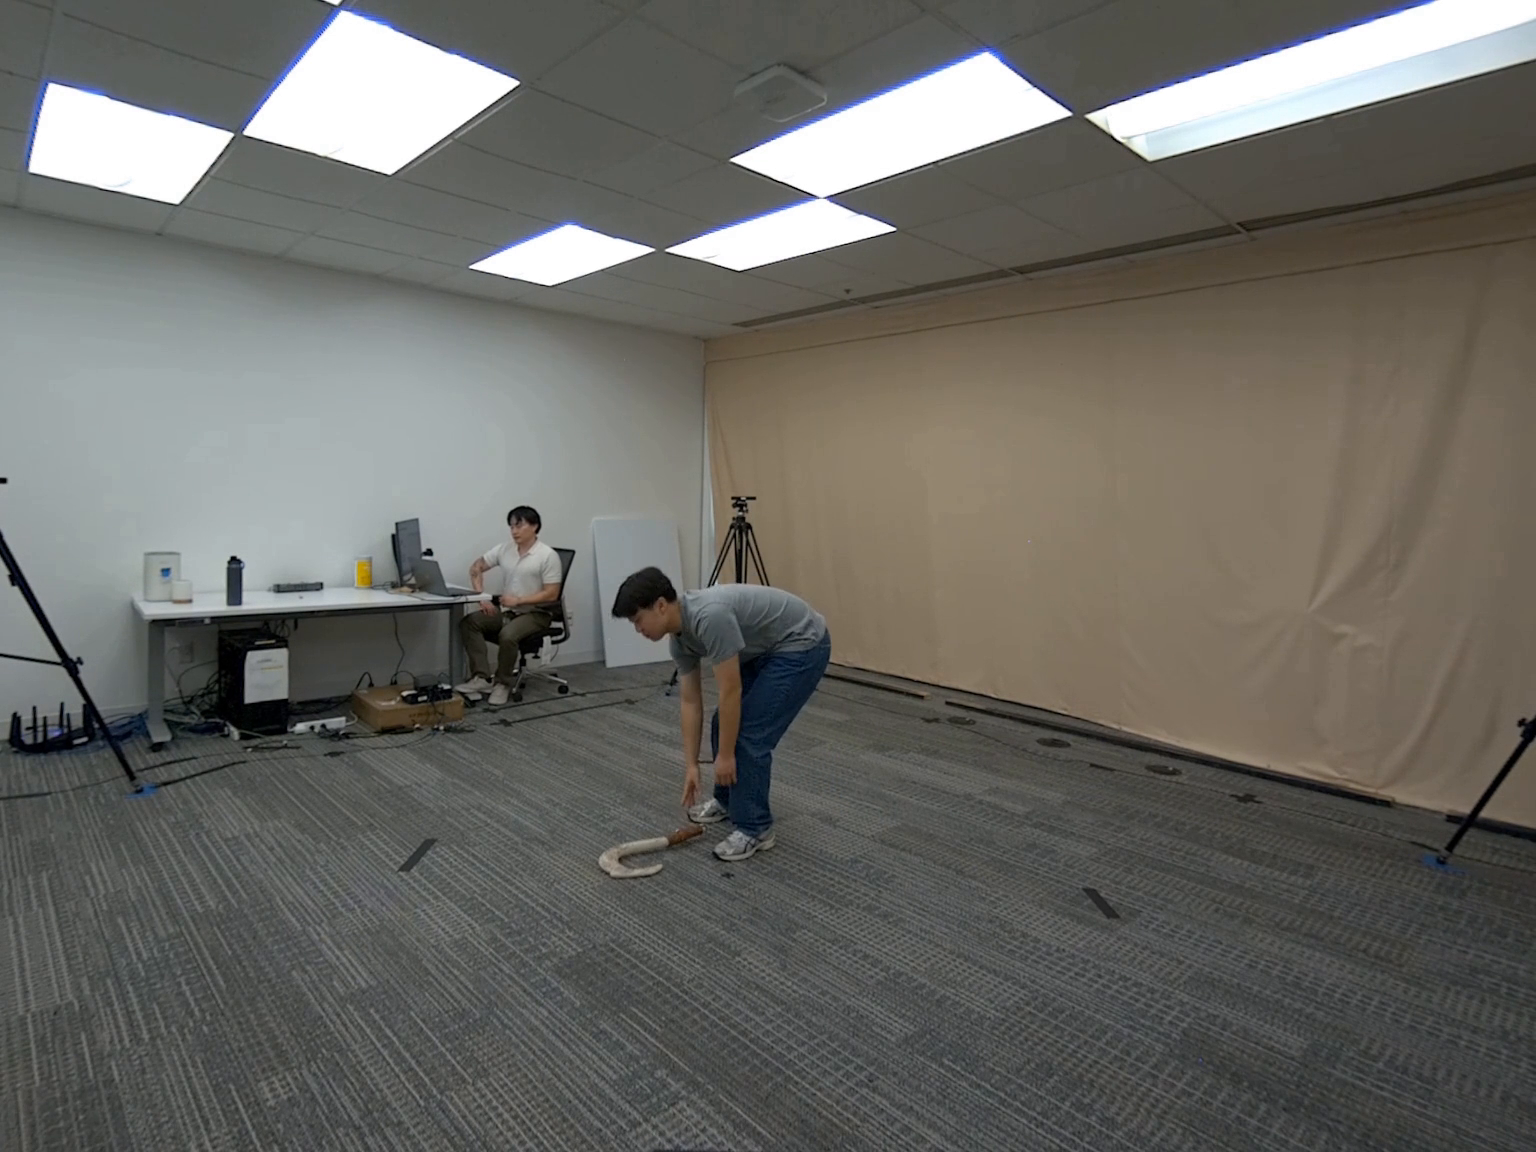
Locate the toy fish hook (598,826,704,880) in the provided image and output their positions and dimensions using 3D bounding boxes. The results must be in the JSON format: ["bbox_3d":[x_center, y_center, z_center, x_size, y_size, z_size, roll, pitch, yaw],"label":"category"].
[{"bbox_3d":[-0.422,1.066,3.247,0.495,0.048,0.231,-5,17,-41],"label":"toy fish hook"}]
